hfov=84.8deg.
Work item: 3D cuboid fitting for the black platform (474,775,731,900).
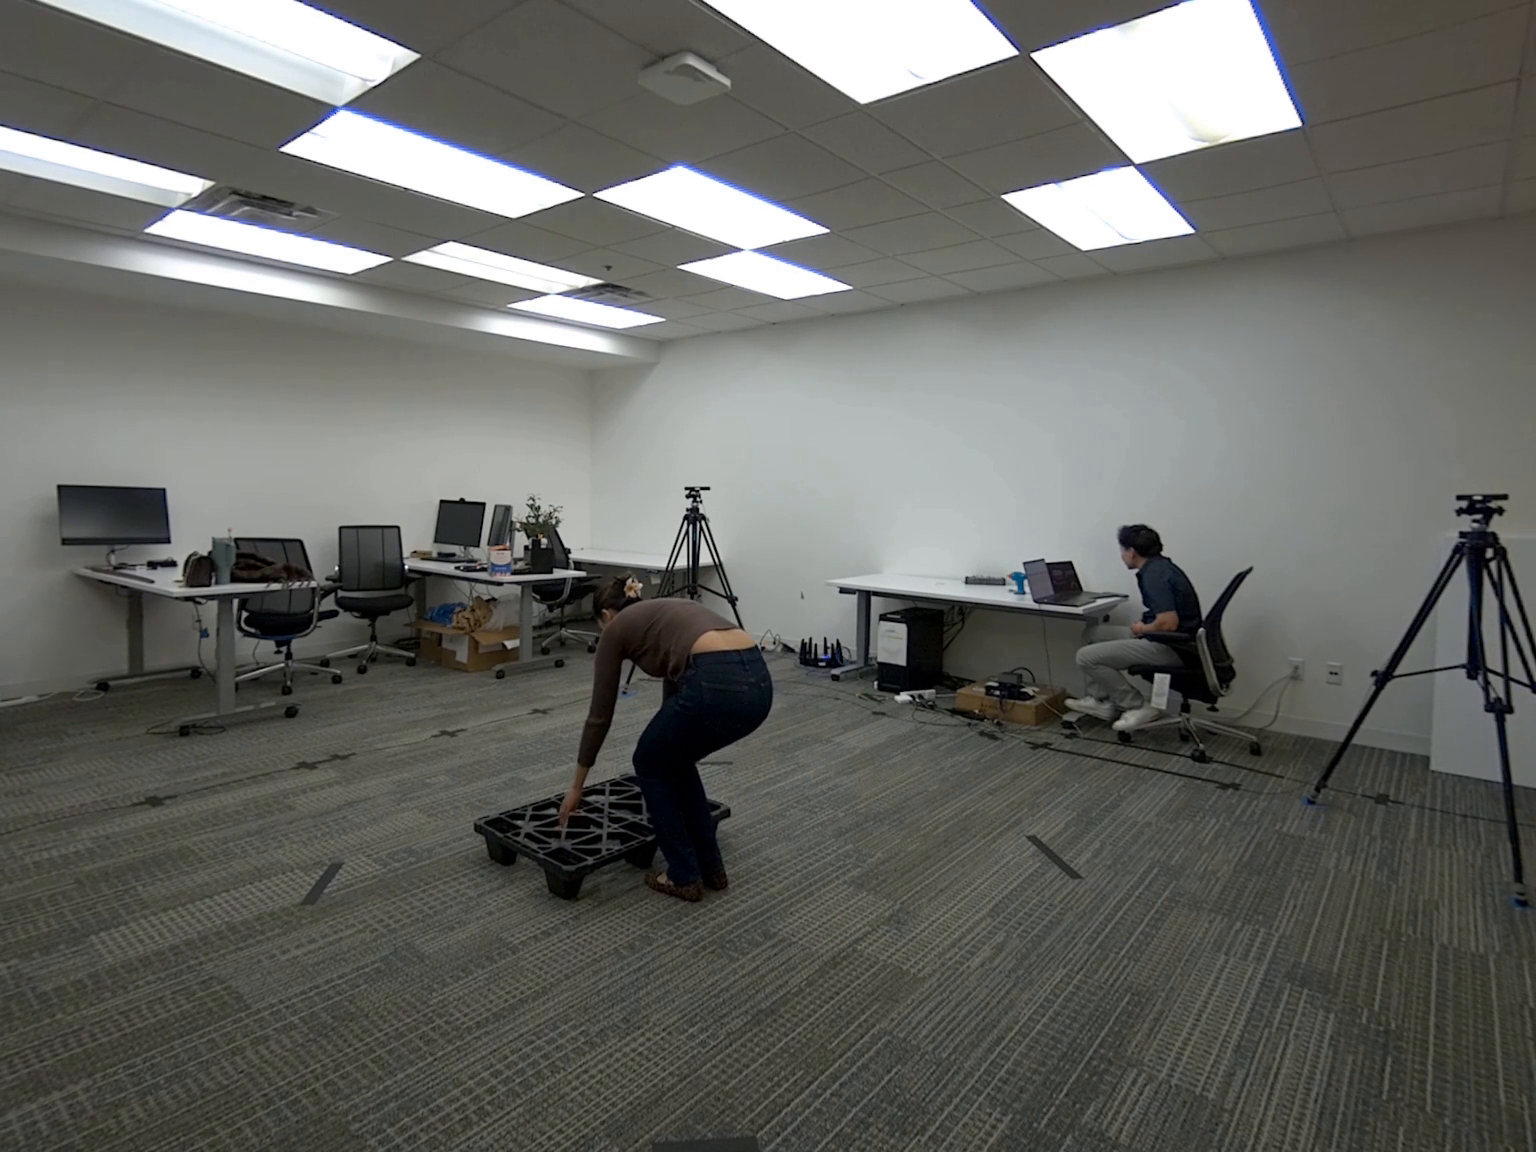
[{"bbox_3d":[-0.629,0.979,3.267,0.626,0.143,0.782,6,8,41],"label":"black platform"}]
